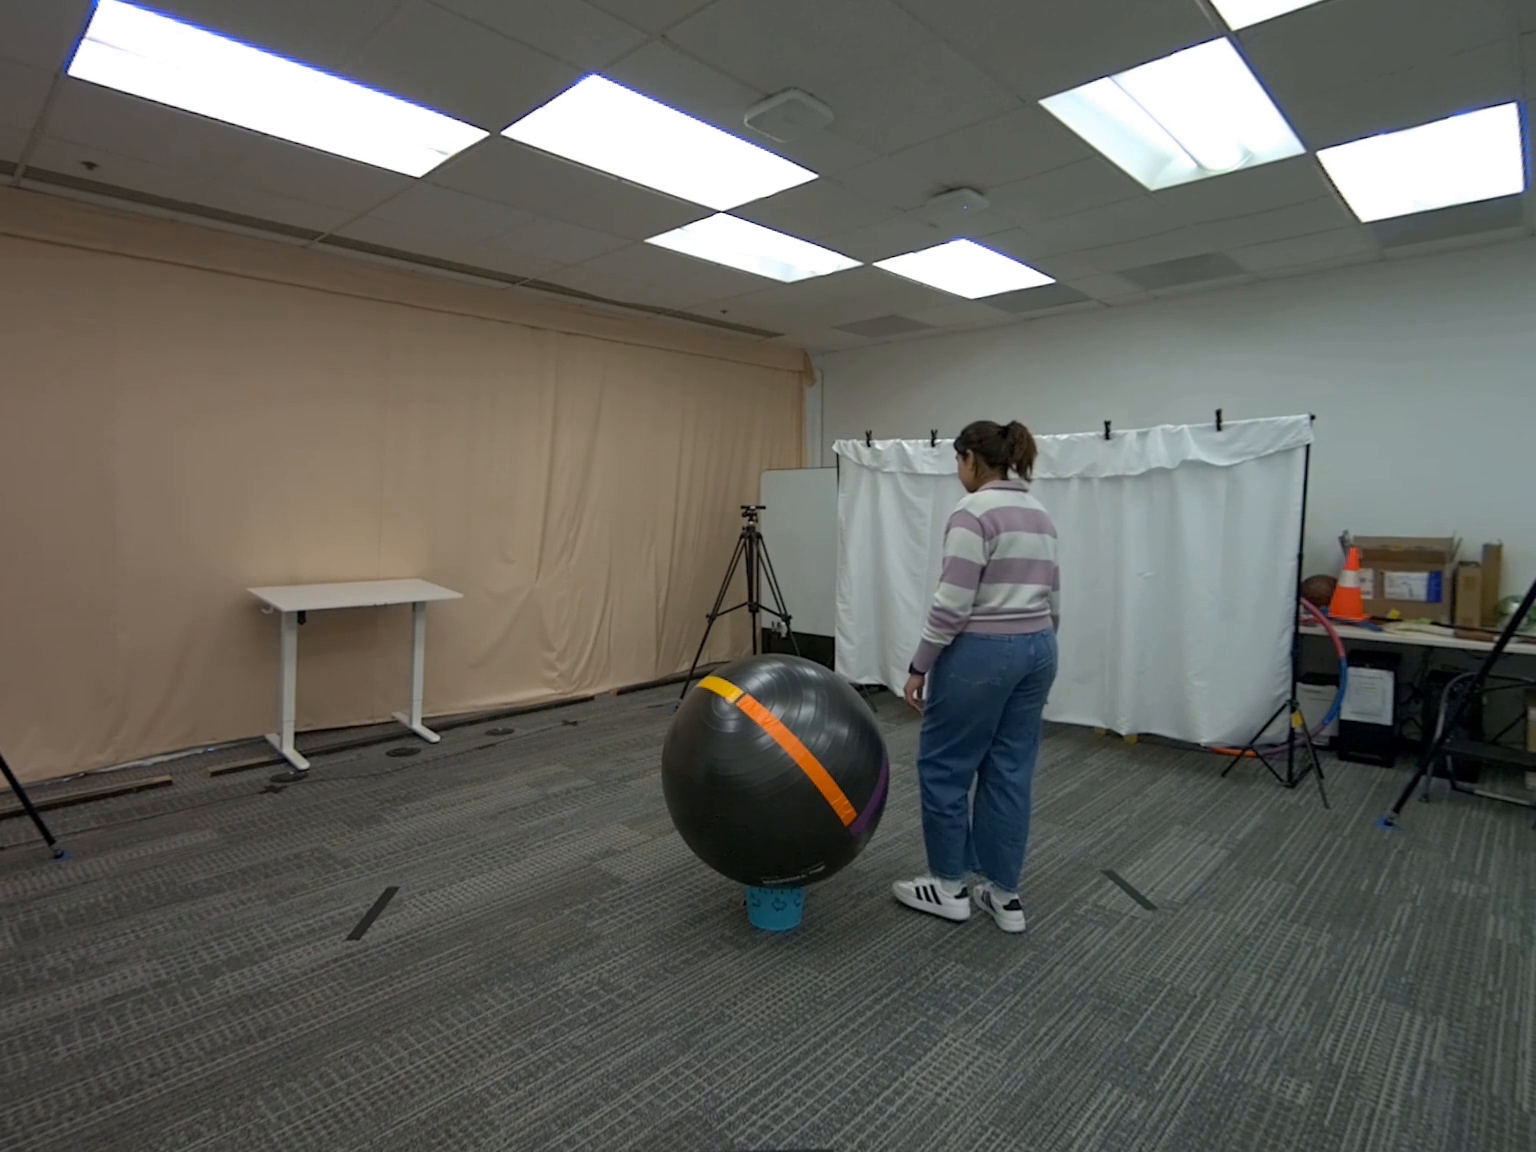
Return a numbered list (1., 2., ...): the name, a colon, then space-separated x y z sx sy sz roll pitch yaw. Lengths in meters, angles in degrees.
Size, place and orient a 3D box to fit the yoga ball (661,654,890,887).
1. yoga ball: 0.021 0.647 2.827 0.757 0.756 0.760 0 4 -2
